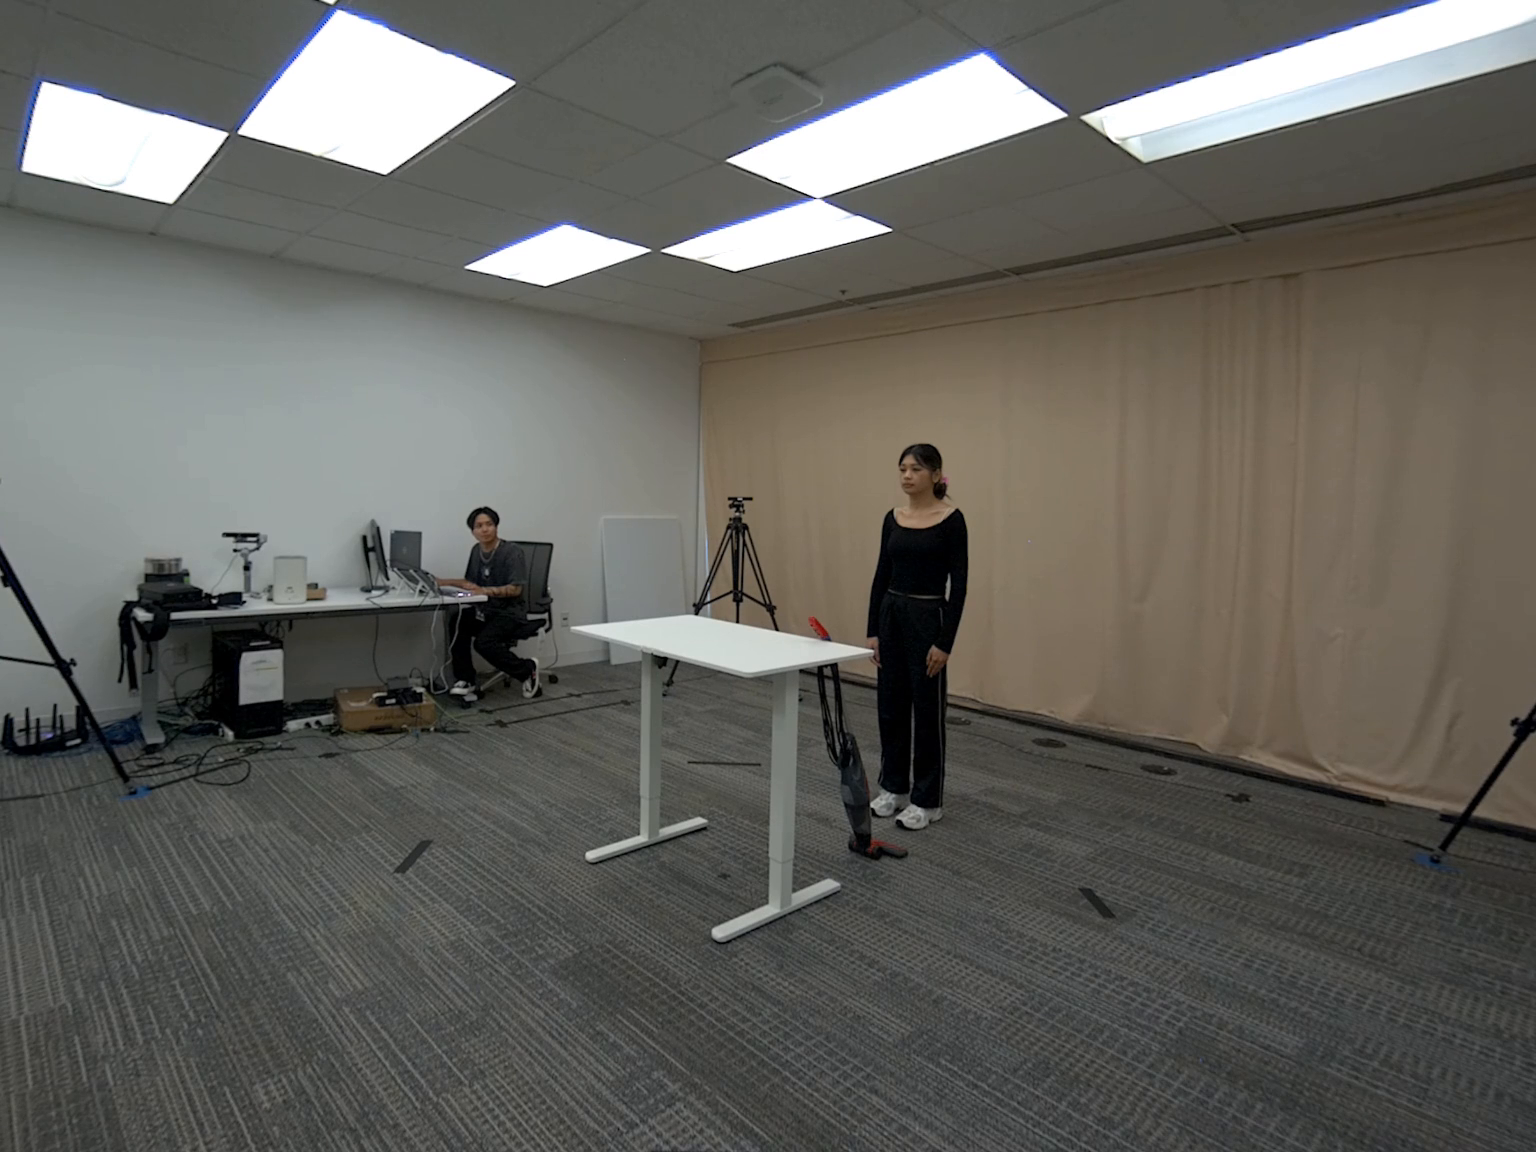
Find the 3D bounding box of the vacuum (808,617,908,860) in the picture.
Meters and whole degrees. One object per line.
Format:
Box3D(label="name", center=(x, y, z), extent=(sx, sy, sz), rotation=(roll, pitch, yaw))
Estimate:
Box3D(label="vacuum", center=(0.286, 0.630, 3.185), extent=(0.259, 1.031, 0.143), rotation=(8, 30, 45))
